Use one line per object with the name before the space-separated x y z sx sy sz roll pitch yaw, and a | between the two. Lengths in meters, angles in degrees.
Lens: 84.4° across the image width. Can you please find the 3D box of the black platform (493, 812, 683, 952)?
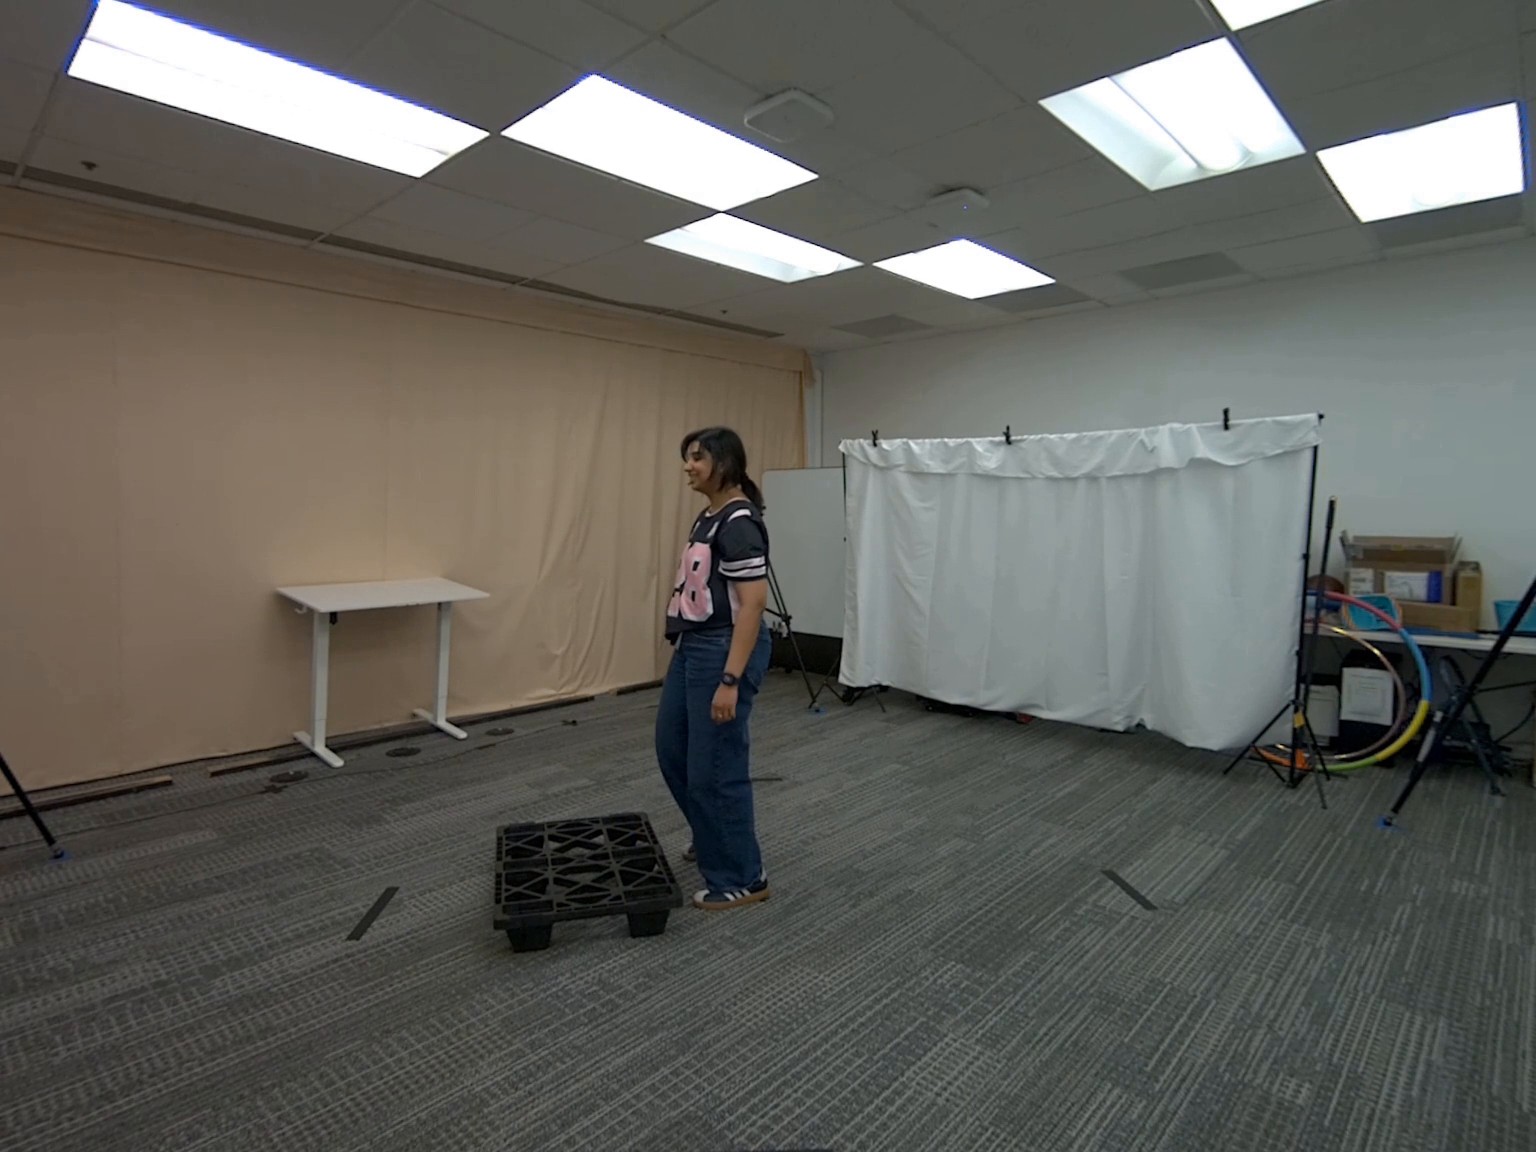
black platform | -0.679 1.080 3.027 0.596 0.143 0.820 -2 5 -16
